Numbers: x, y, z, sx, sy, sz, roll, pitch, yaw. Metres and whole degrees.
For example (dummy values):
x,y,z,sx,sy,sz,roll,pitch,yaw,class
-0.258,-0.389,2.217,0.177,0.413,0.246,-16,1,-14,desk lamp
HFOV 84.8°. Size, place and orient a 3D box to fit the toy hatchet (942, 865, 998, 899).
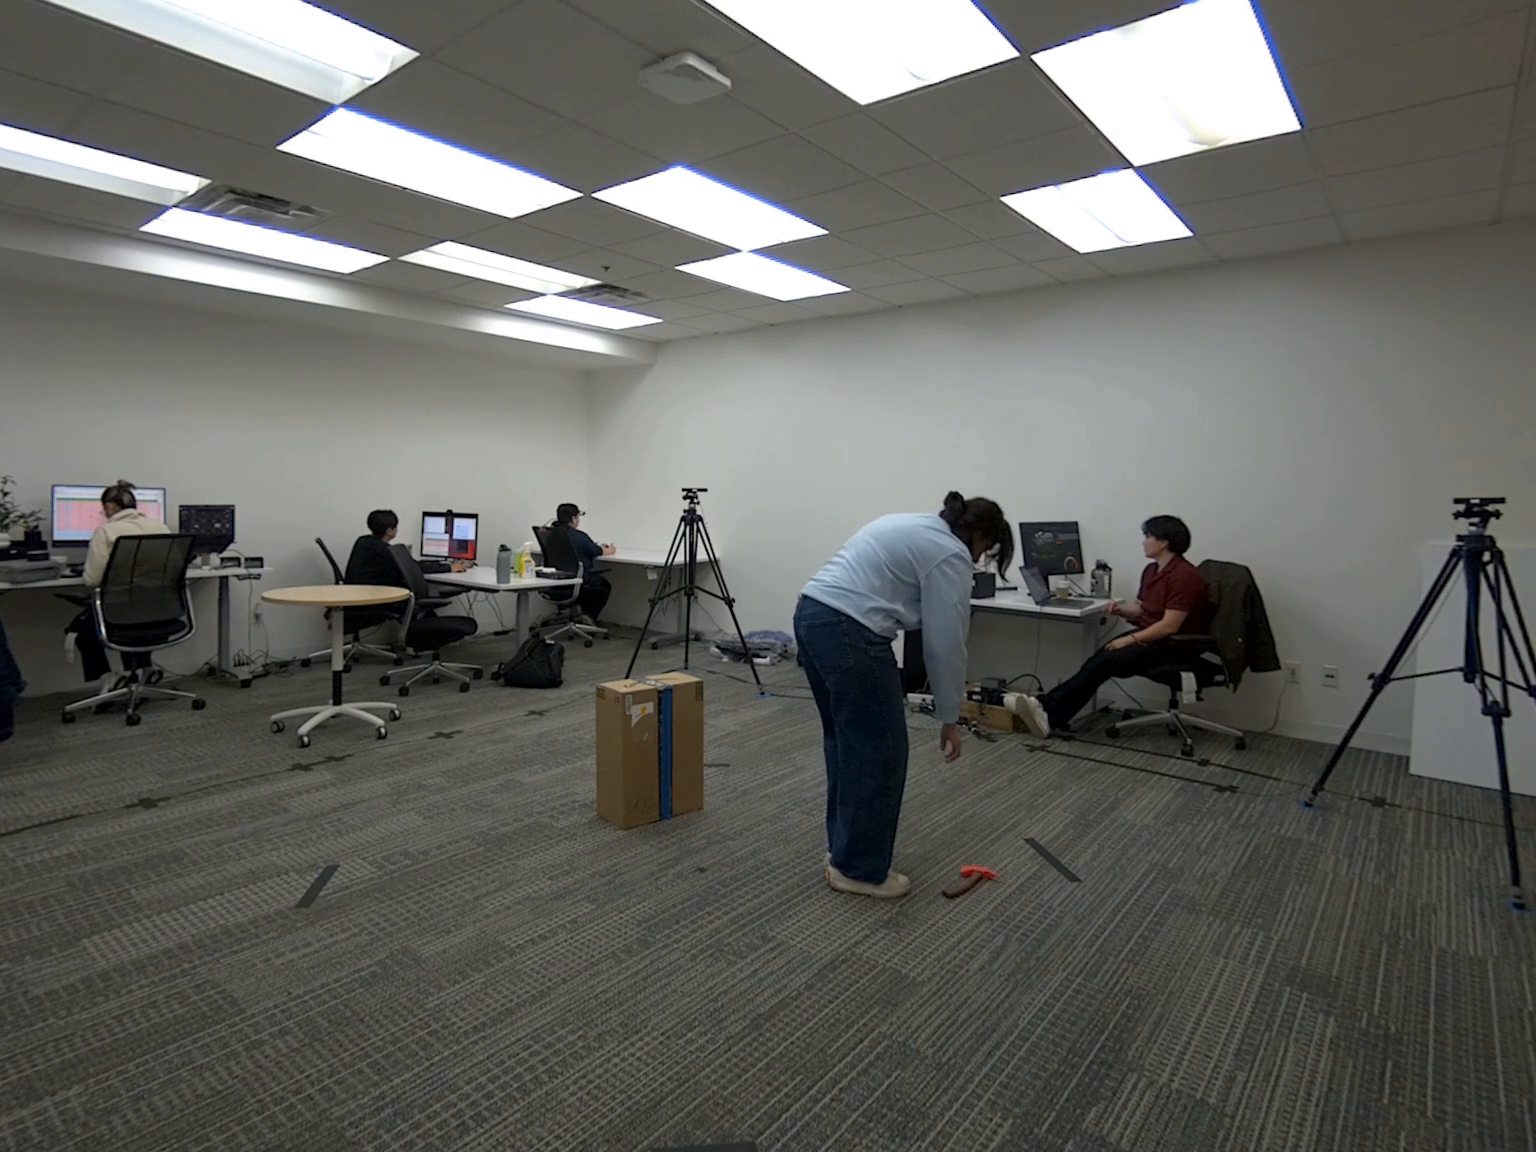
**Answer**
x,y,z,sx,sy,sz,roll,pitch,yaw,class
0.690,1.091,3.048,0.262,0.029,0.135,-5,9,-35,toy hatchet
